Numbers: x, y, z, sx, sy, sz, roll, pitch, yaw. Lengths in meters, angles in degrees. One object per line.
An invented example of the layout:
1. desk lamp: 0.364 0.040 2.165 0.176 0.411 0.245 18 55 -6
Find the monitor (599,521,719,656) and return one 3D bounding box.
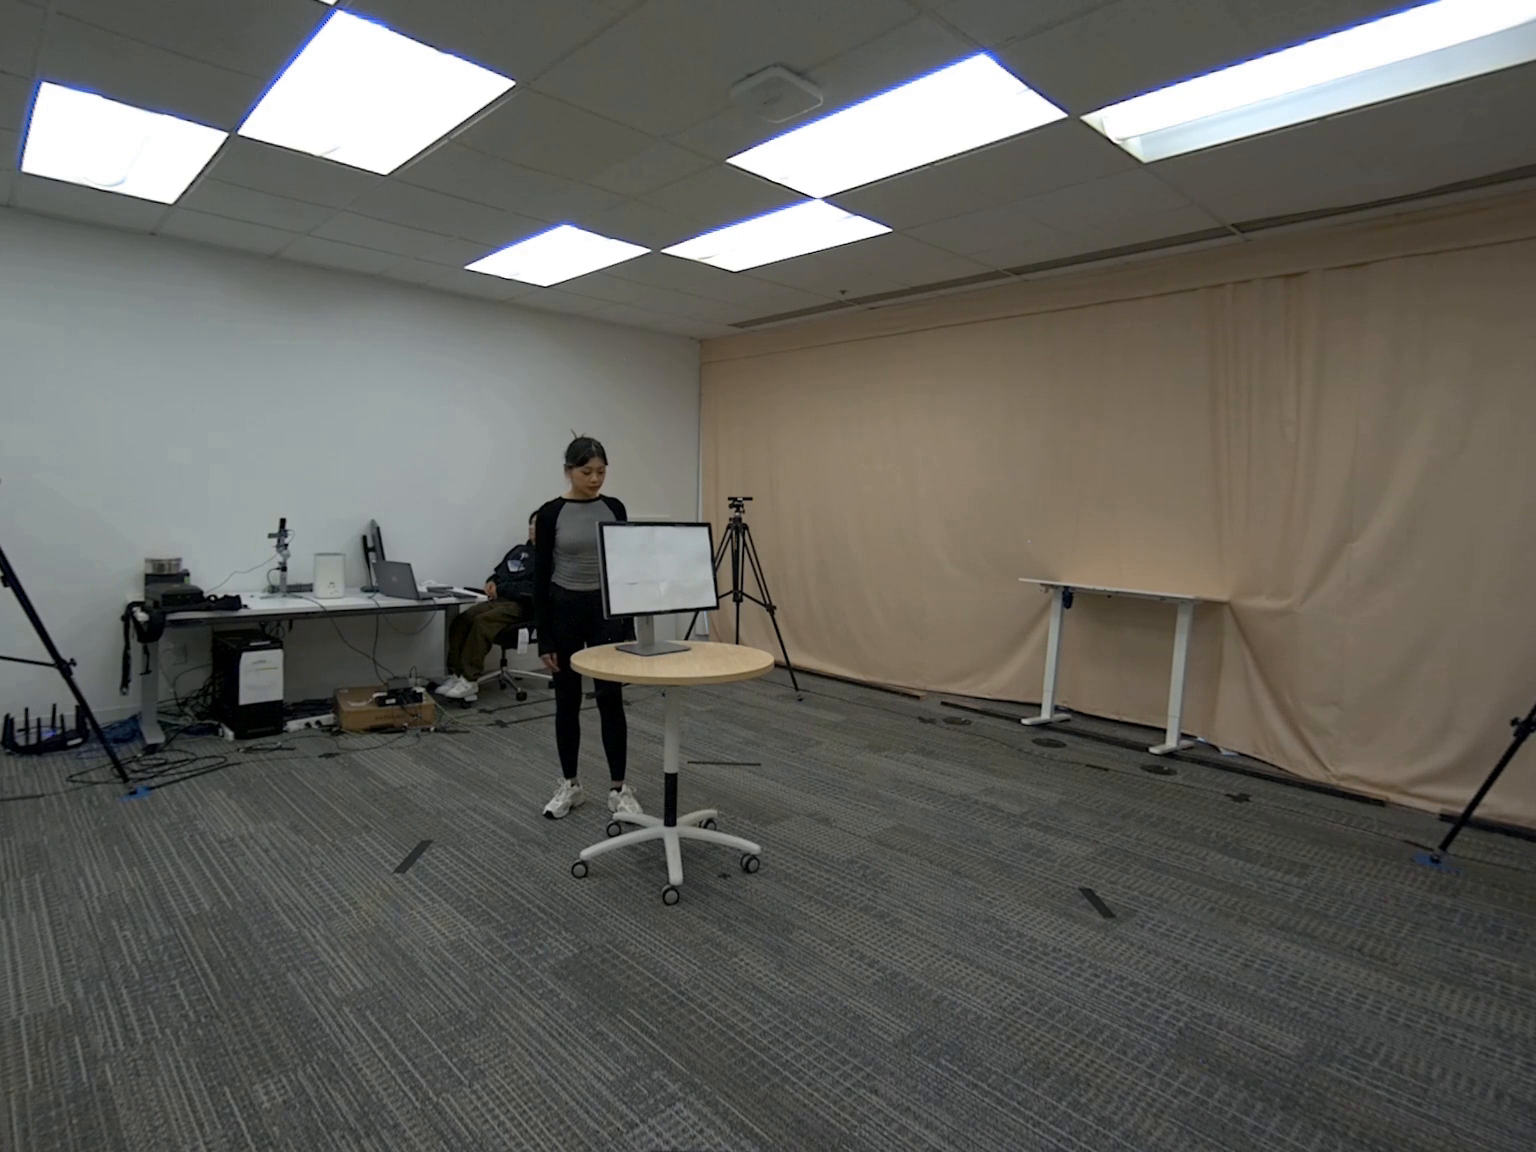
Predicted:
1. monitor: -0.456 0.048 3.325 0.192 0.521 0.527 8 8 43
